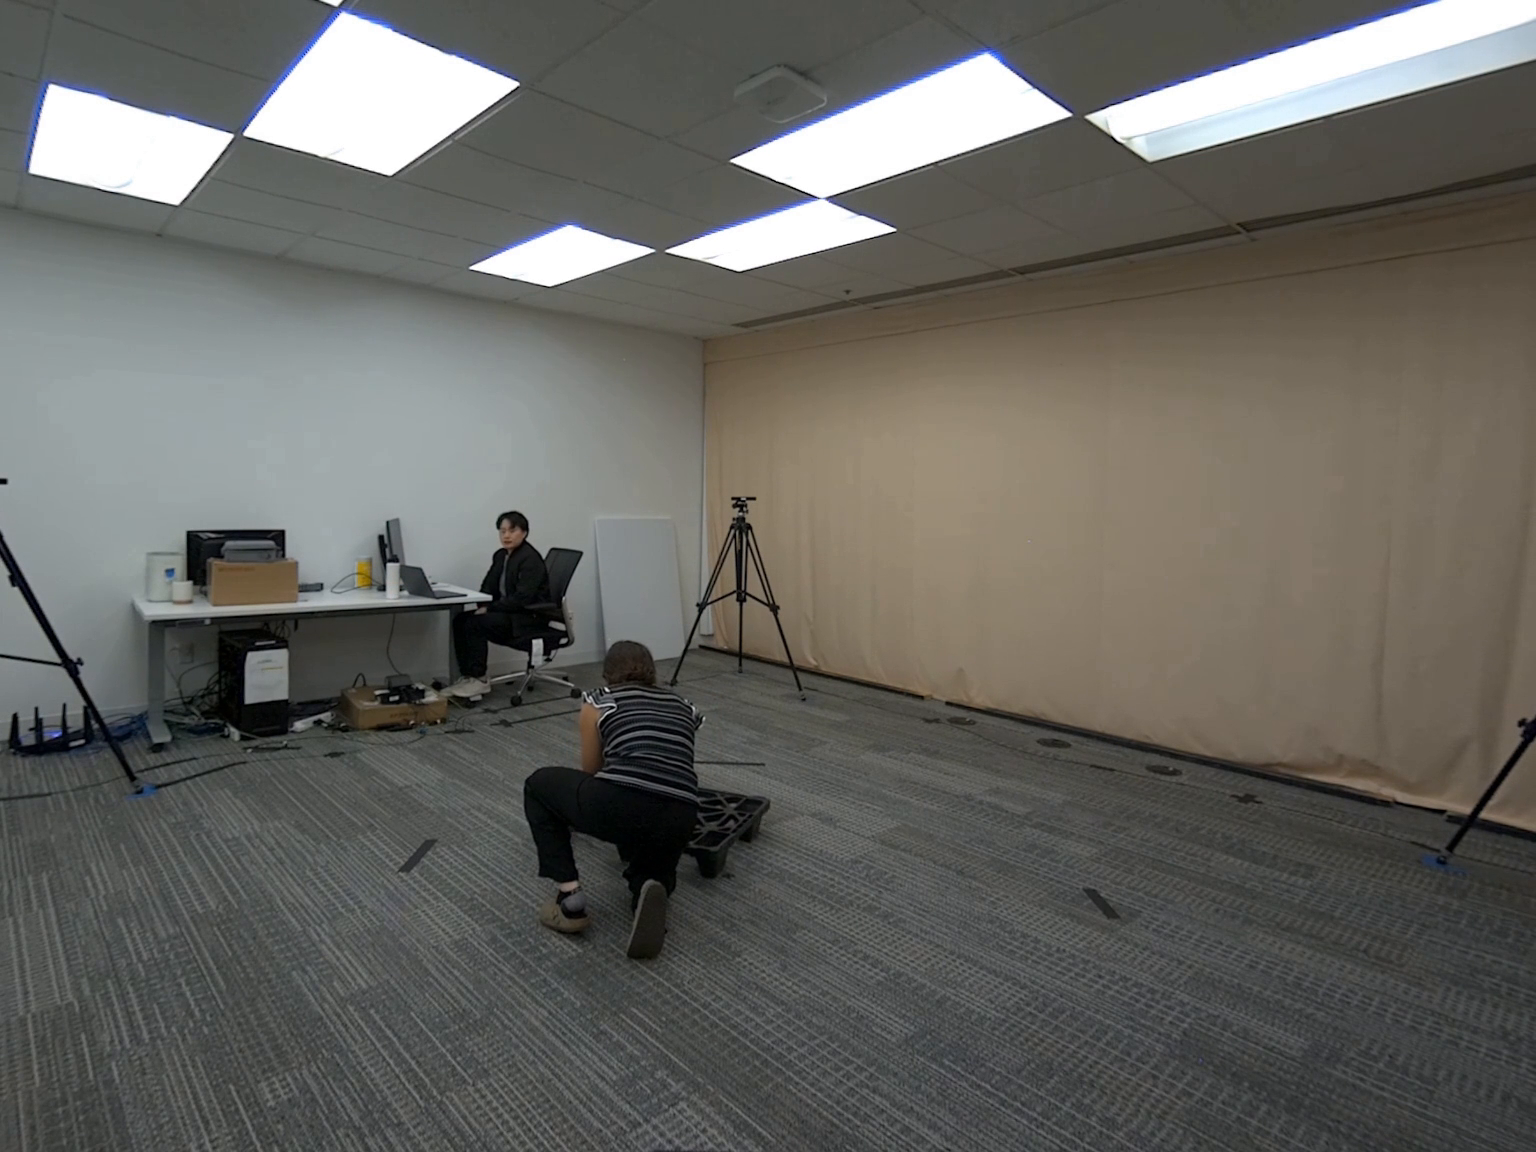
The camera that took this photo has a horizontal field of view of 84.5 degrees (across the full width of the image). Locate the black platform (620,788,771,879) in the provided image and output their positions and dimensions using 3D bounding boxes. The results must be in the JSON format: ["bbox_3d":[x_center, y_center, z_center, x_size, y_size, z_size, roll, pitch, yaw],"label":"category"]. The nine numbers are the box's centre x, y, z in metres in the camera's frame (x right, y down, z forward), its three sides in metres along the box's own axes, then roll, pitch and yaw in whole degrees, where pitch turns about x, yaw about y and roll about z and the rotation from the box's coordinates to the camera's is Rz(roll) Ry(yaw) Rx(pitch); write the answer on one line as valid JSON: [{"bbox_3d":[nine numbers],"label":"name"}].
[{"bbox_3d":[-0.468,1.005,3.426,0.819,0.143,0.596,4,5,21],"label":"black platform"}]
